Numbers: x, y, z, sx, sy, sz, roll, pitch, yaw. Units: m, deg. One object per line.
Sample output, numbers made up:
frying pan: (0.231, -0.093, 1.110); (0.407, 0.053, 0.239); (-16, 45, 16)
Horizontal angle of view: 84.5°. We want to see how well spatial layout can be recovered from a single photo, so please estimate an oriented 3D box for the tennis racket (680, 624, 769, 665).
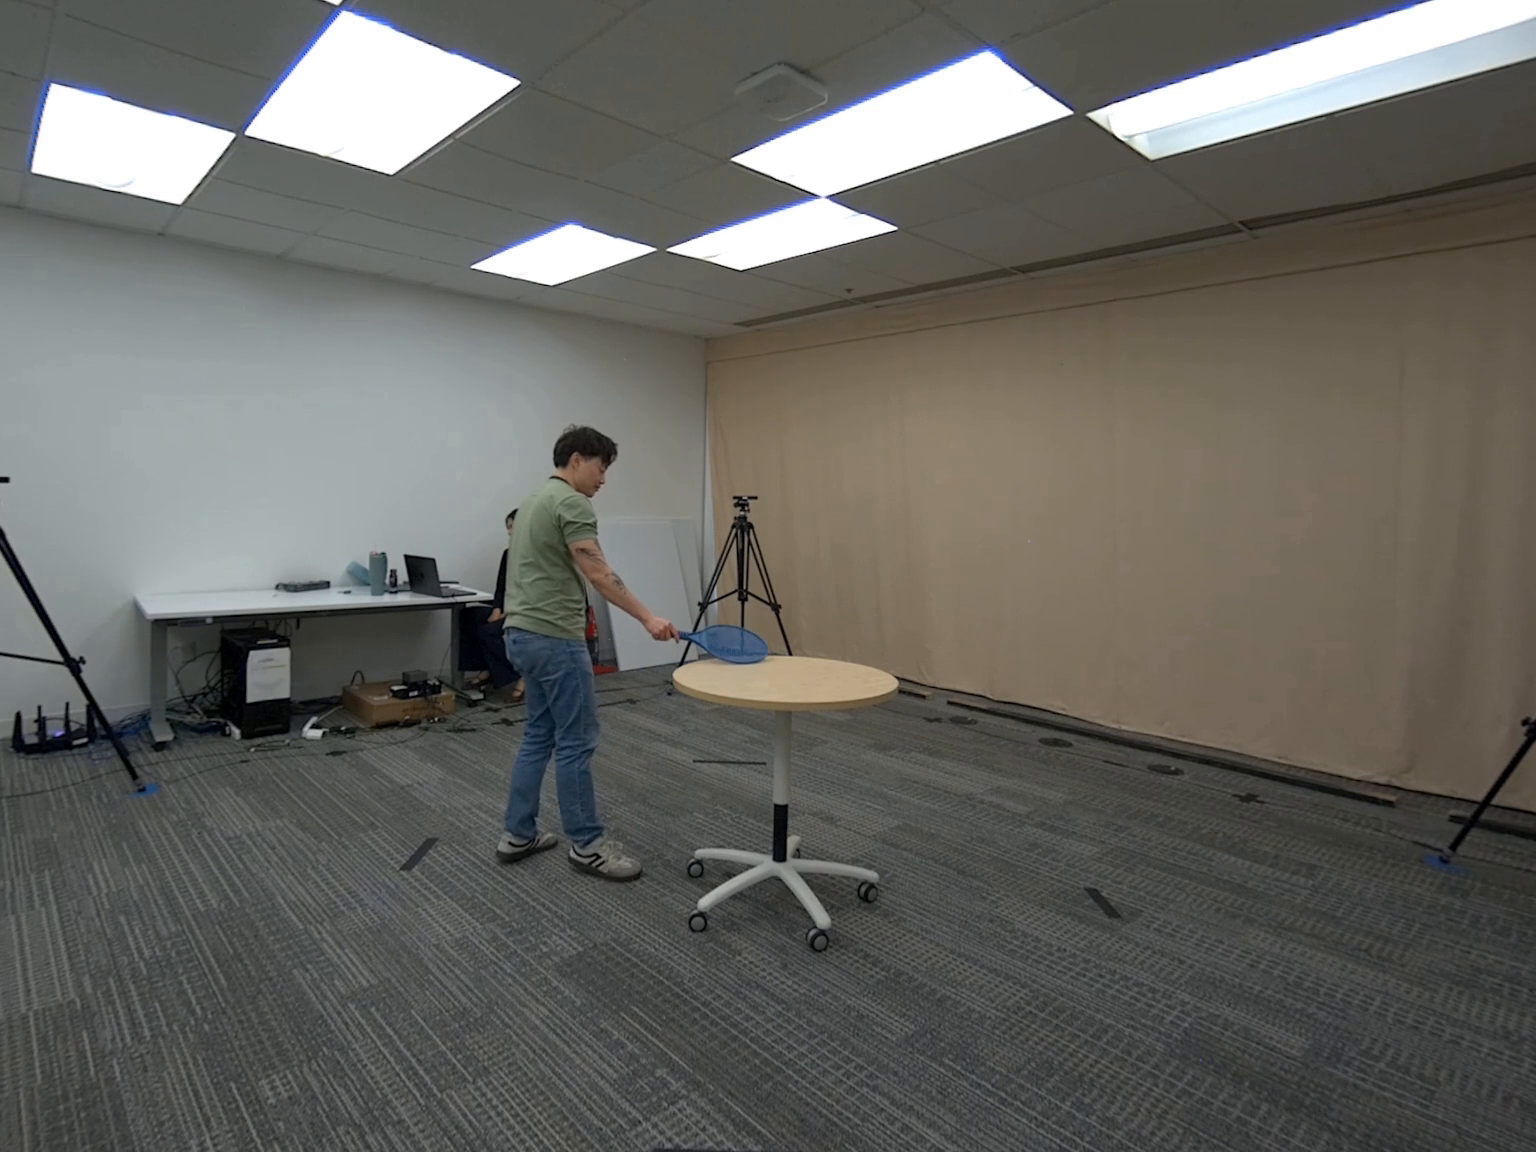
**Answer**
tennis racket: (-0.207, 0.240, 3.139); (0.430, 0.031, 0.218); (11, 30, -8)
